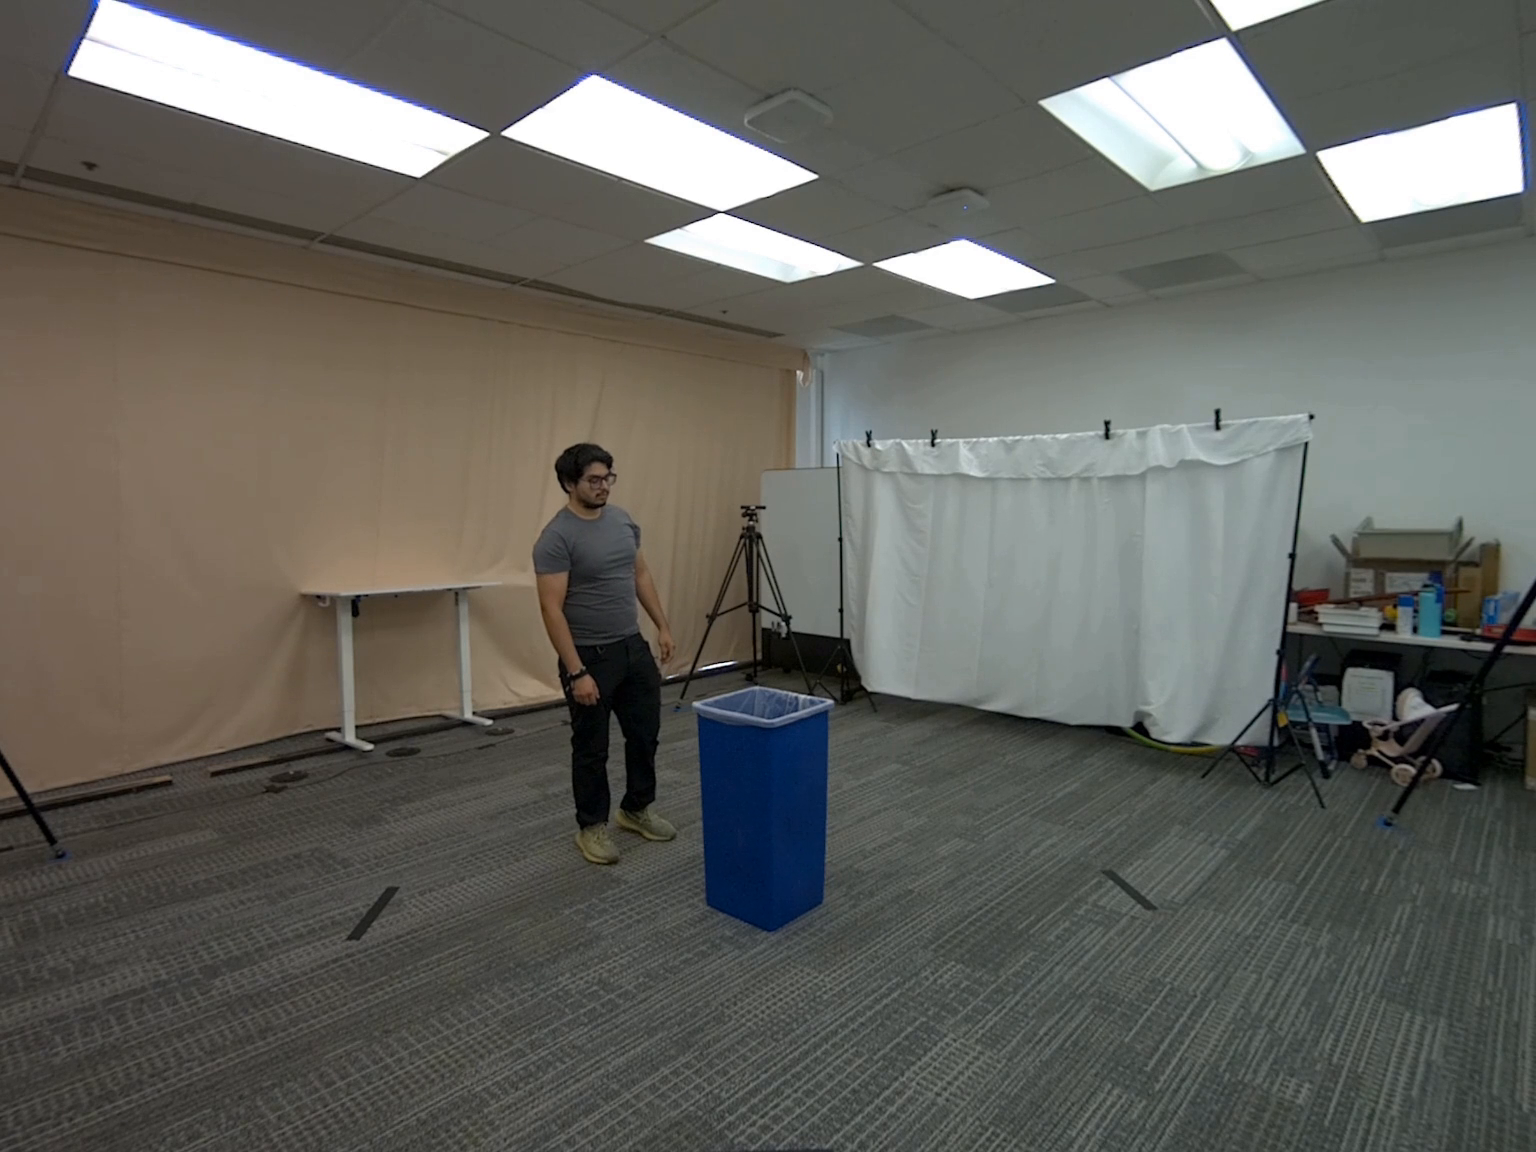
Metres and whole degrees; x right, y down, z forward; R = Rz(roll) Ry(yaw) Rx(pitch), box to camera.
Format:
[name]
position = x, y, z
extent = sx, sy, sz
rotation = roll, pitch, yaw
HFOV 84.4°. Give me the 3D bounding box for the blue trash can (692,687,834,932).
[blue trash can]
position = -0.018, 0.790, 2.933
extent = 0.386, 0.712, 0.367
rotation = 3, 5, 40
